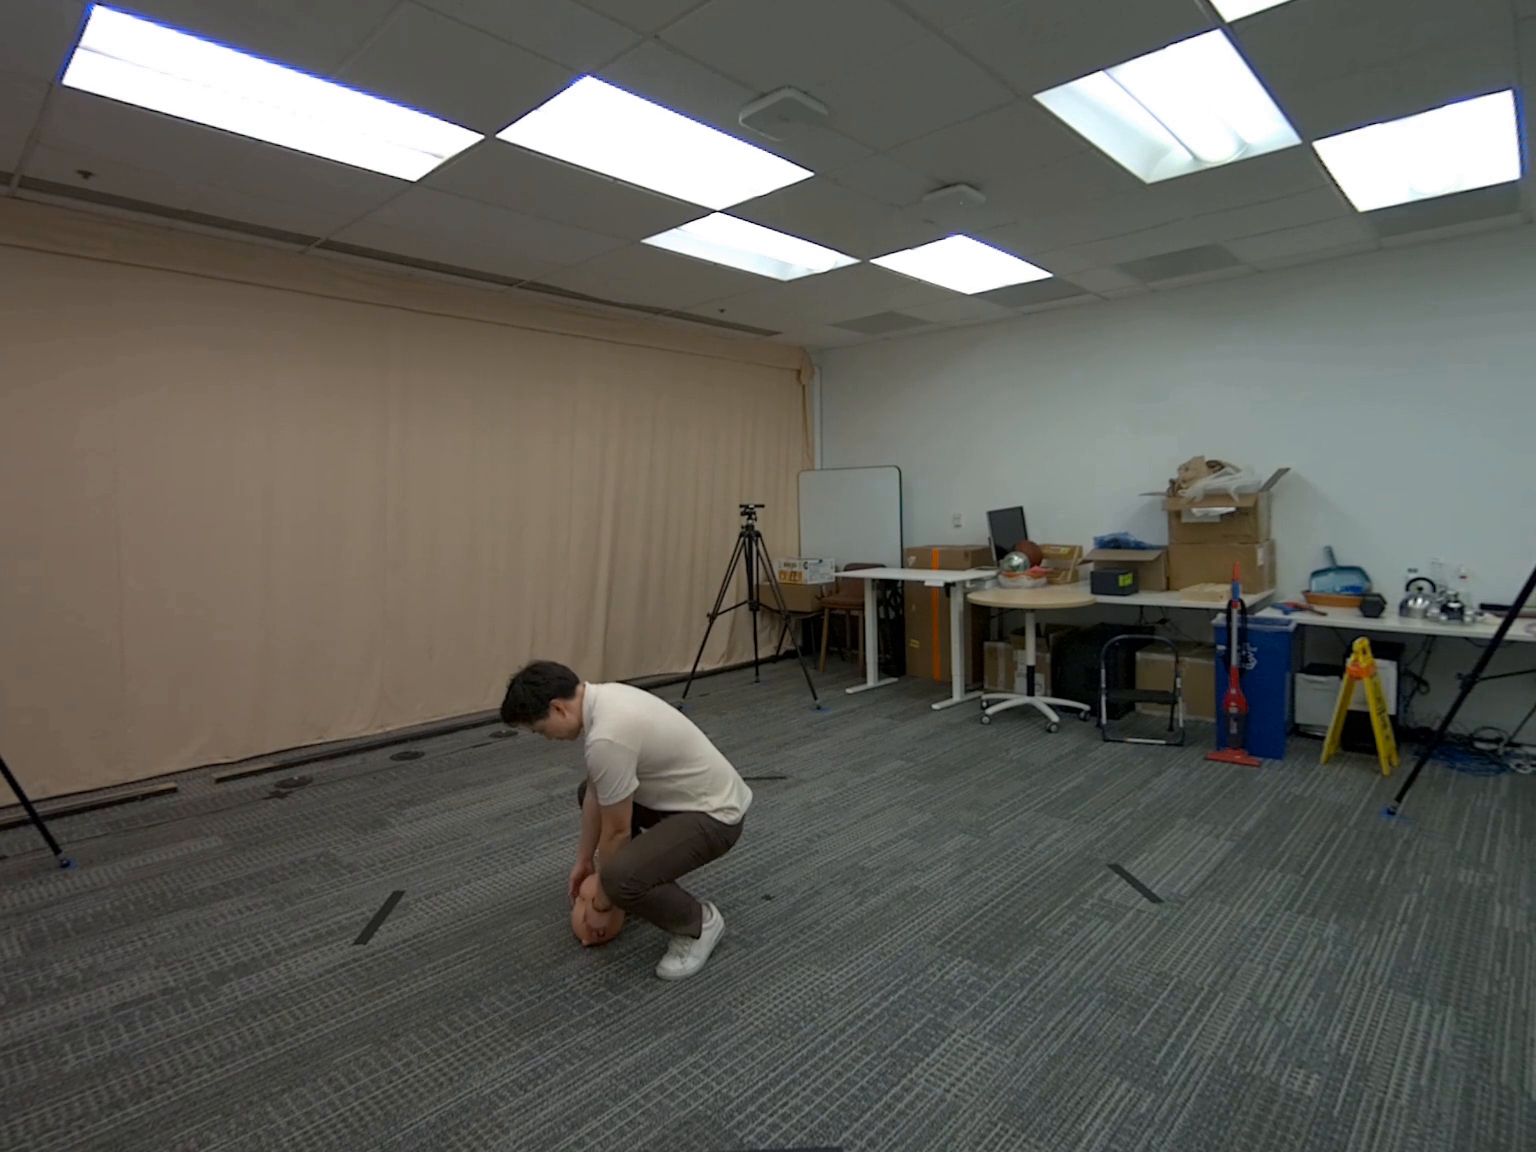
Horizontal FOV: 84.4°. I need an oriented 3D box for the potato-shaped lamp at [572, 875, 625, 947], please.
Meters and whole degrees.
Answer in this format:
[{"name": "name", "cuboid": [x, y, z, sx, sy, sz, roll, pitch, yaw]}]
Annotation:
[{"name": "potato-shaped lamp", "cuboid": [-0.552, 1.074, 2.741, 0.167, 0.198, 0.168, -1, 1, -24]}]
